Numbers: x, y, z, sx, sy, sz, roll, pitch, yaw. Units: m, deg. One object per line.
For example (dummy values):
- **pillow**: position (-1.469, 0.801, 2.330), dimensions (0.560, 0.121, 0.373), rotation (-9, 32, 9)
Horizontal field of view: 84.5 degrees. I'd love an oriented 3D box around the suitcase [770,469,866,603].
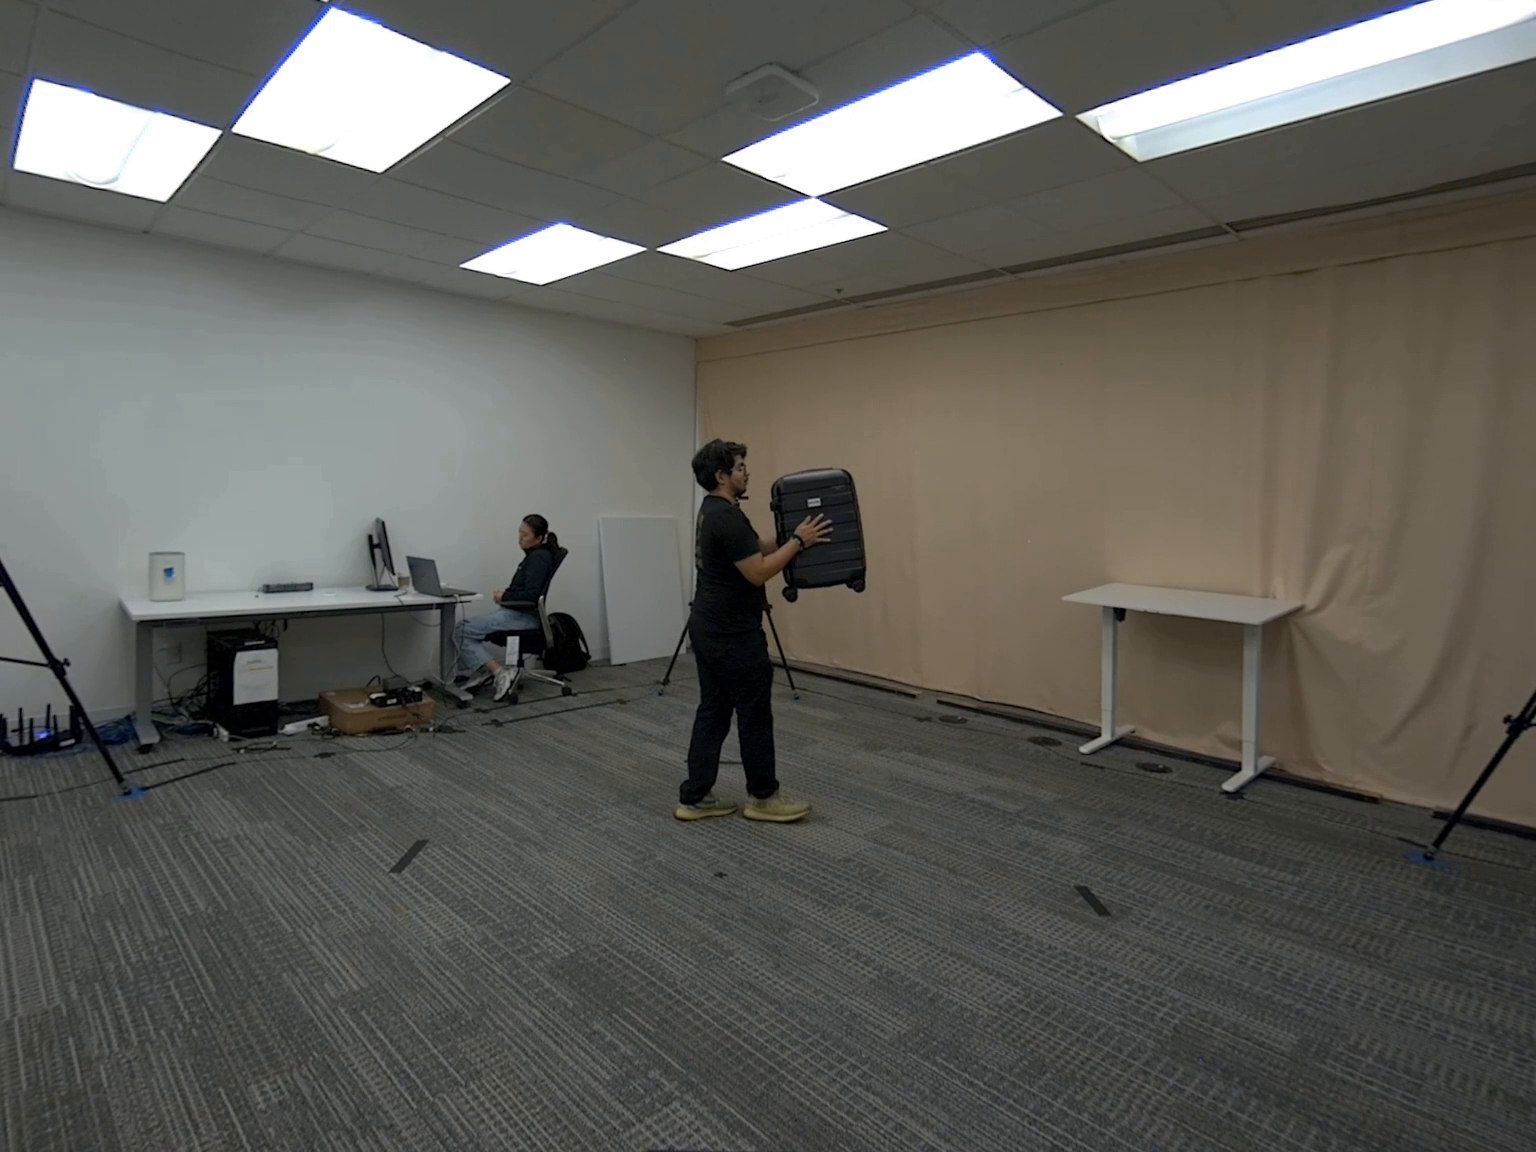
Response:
- **suitcase**: position (0.216, -0.199, 3.702), dimensions (0.376, 0.549, 0.248), rotation (-8, 1, 1)
